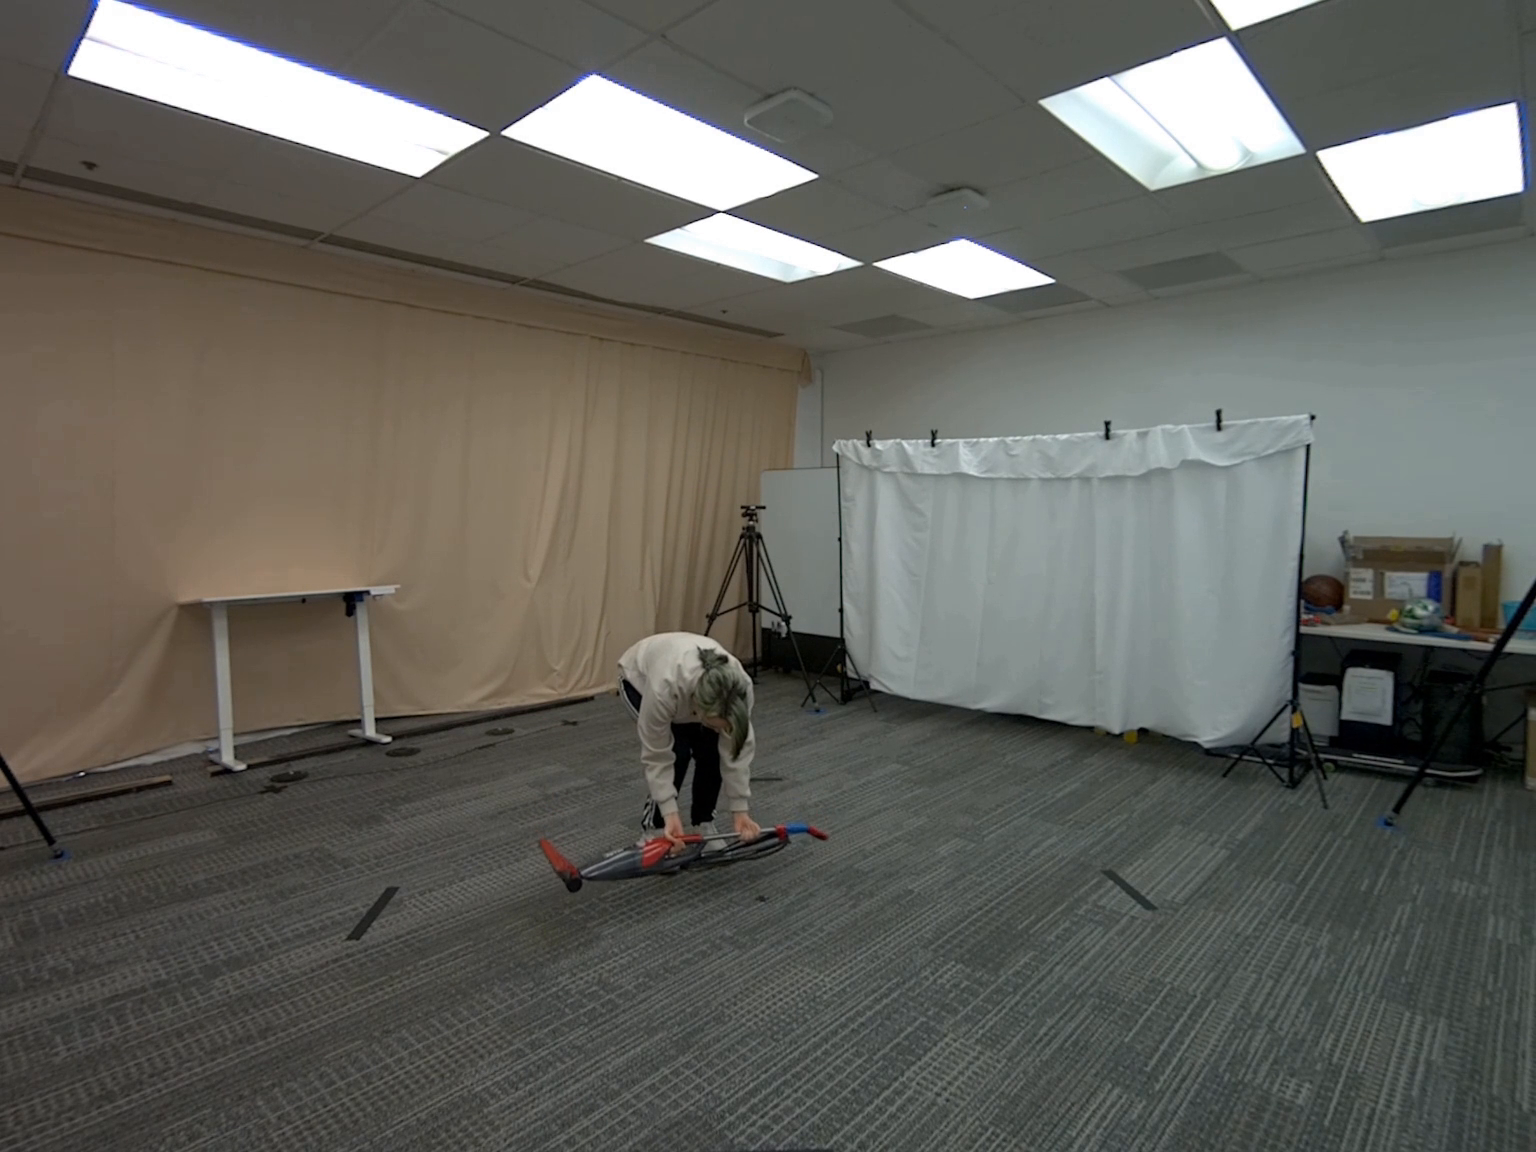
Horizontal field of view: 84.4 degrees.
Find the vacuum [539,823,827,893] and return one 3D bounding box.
[{"bbox_3d":[-0.238,0.978,3.023,1.022,0.144,0.259,3,3,-27],"label":"vacuum"}]
